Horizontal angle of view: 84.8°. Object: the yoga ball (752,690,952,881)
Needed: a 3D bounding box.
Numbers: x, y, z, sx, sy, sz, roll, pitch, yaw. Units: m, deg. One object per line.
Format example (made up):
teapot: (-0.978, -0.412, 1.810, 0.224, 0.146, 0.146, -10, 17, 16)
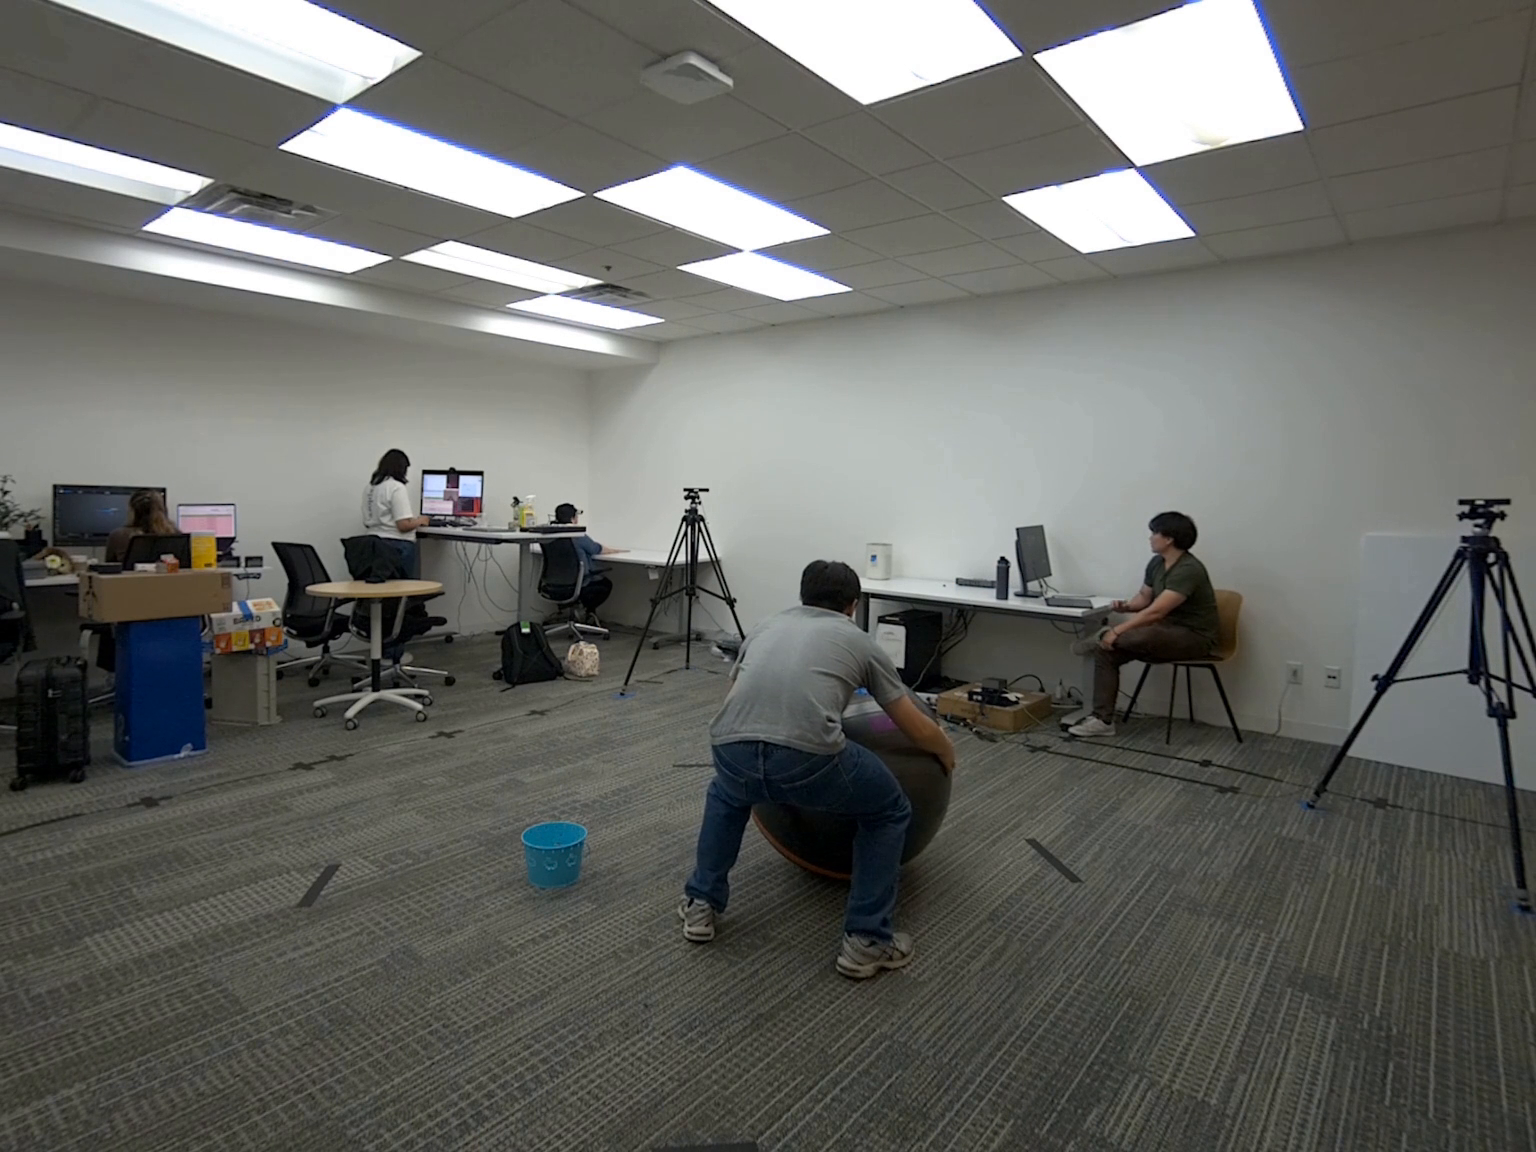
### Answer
yoga ball: (0.277, 0.710, 3.119, 0.757, 0.755, 0.762, 1, 4, -2)
